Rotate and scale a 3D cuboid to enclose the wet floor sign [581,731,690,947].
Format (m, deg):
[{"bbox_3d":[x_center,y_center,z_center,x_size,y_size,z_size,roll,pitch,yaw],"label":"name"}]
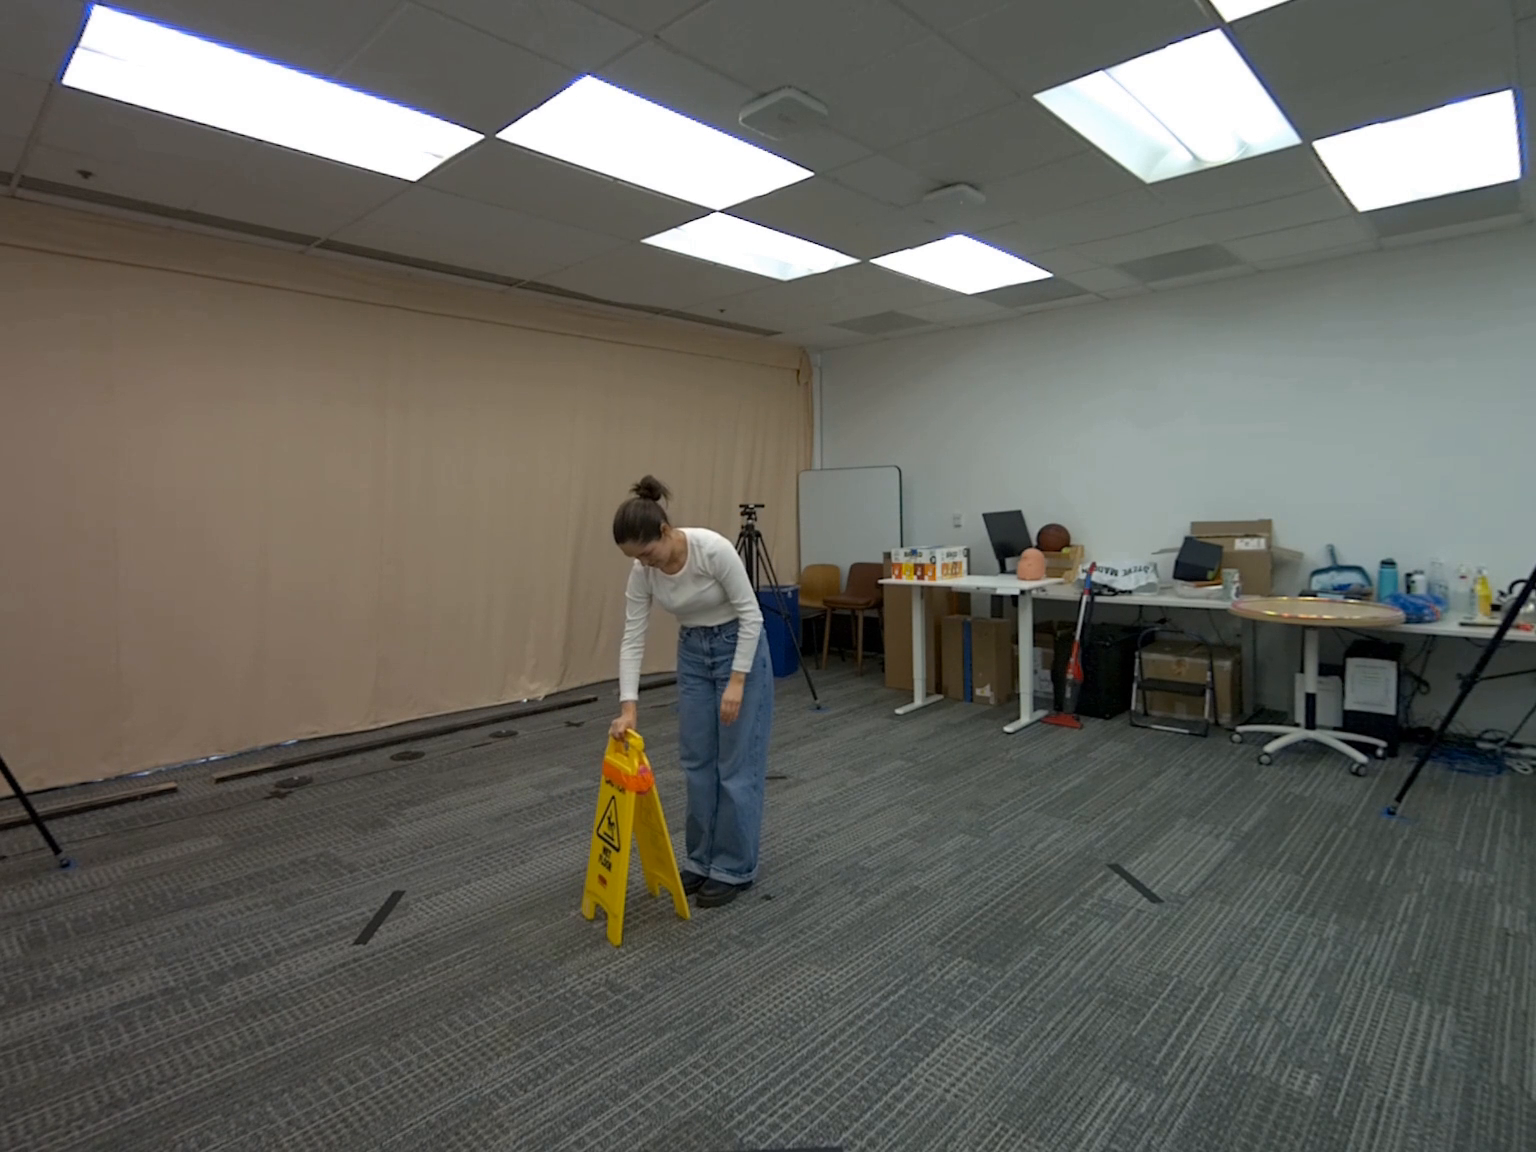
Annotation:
[{"bbox_3d":[-0.462,0.831,2.824,0.282,0.644,0.291,-6,6,-35],"label":"wet floor sign"}]
